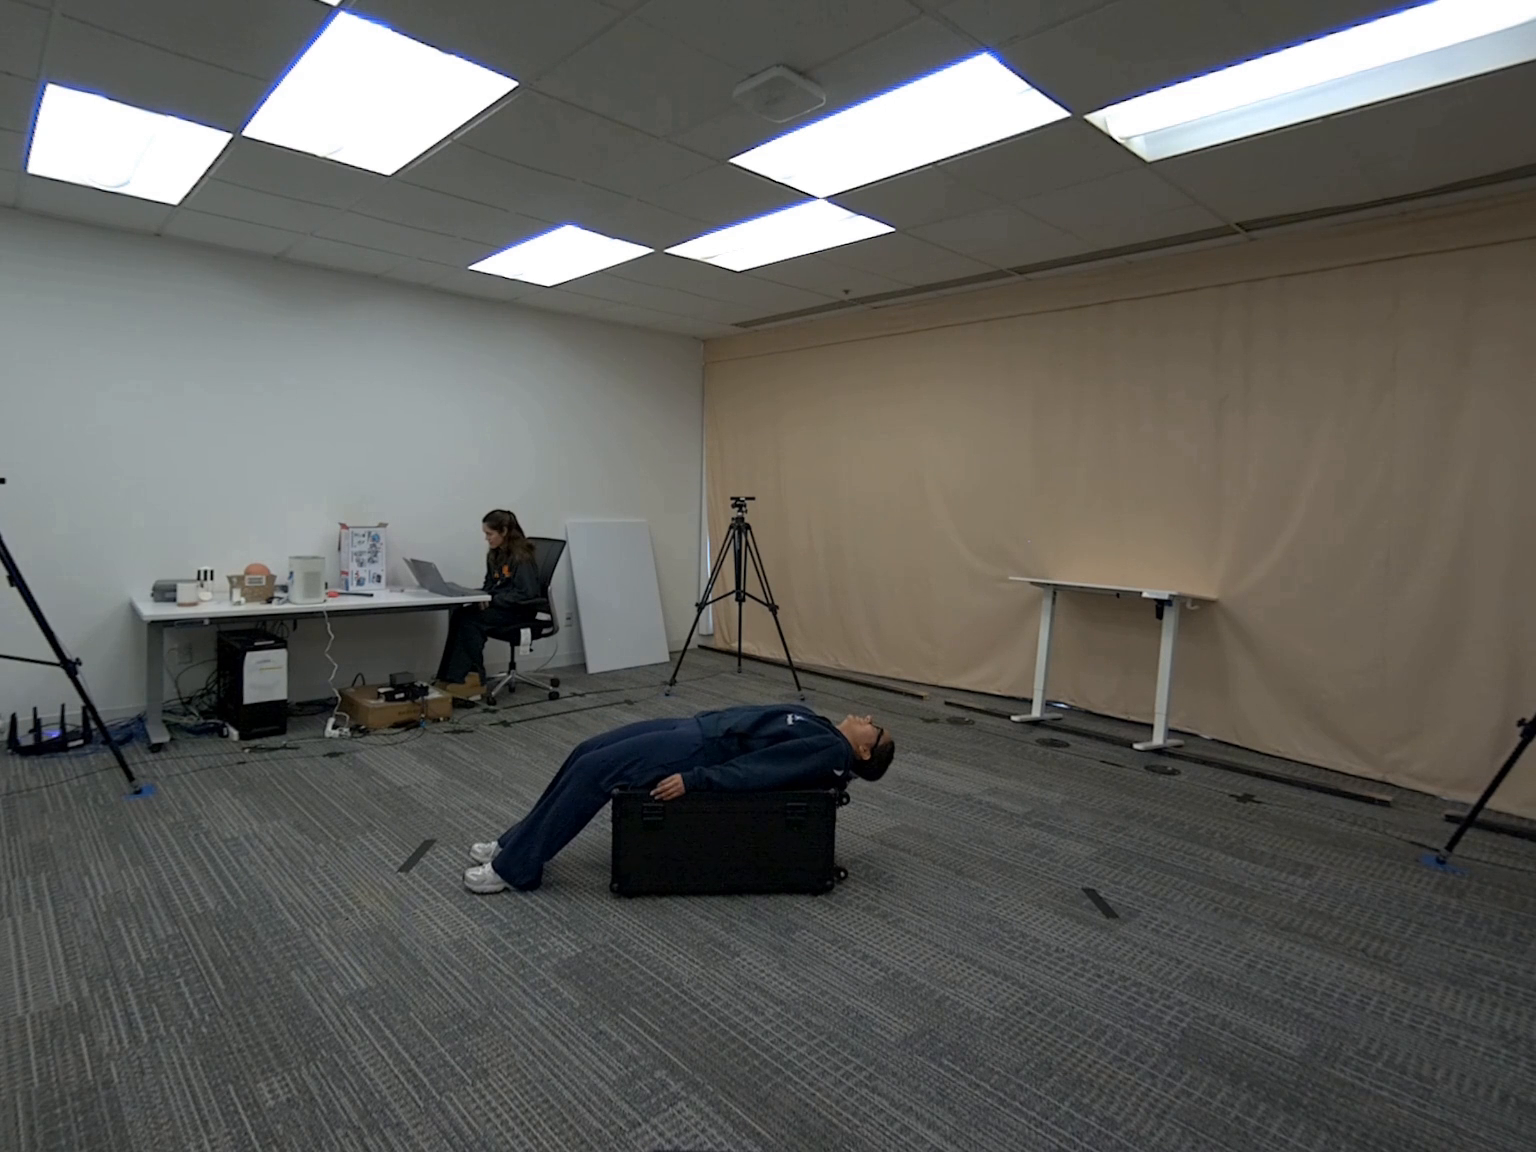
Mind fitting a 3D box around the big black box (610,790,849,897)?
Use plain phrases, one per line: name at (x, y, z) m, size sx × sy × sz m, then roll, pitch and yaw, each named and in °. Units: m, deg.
big black box at (-0.147, 0.912, 3.157) m, size 0.857 × 0.396 × 0.524 m, roll 0°, pitch 3°, yaw -6°
